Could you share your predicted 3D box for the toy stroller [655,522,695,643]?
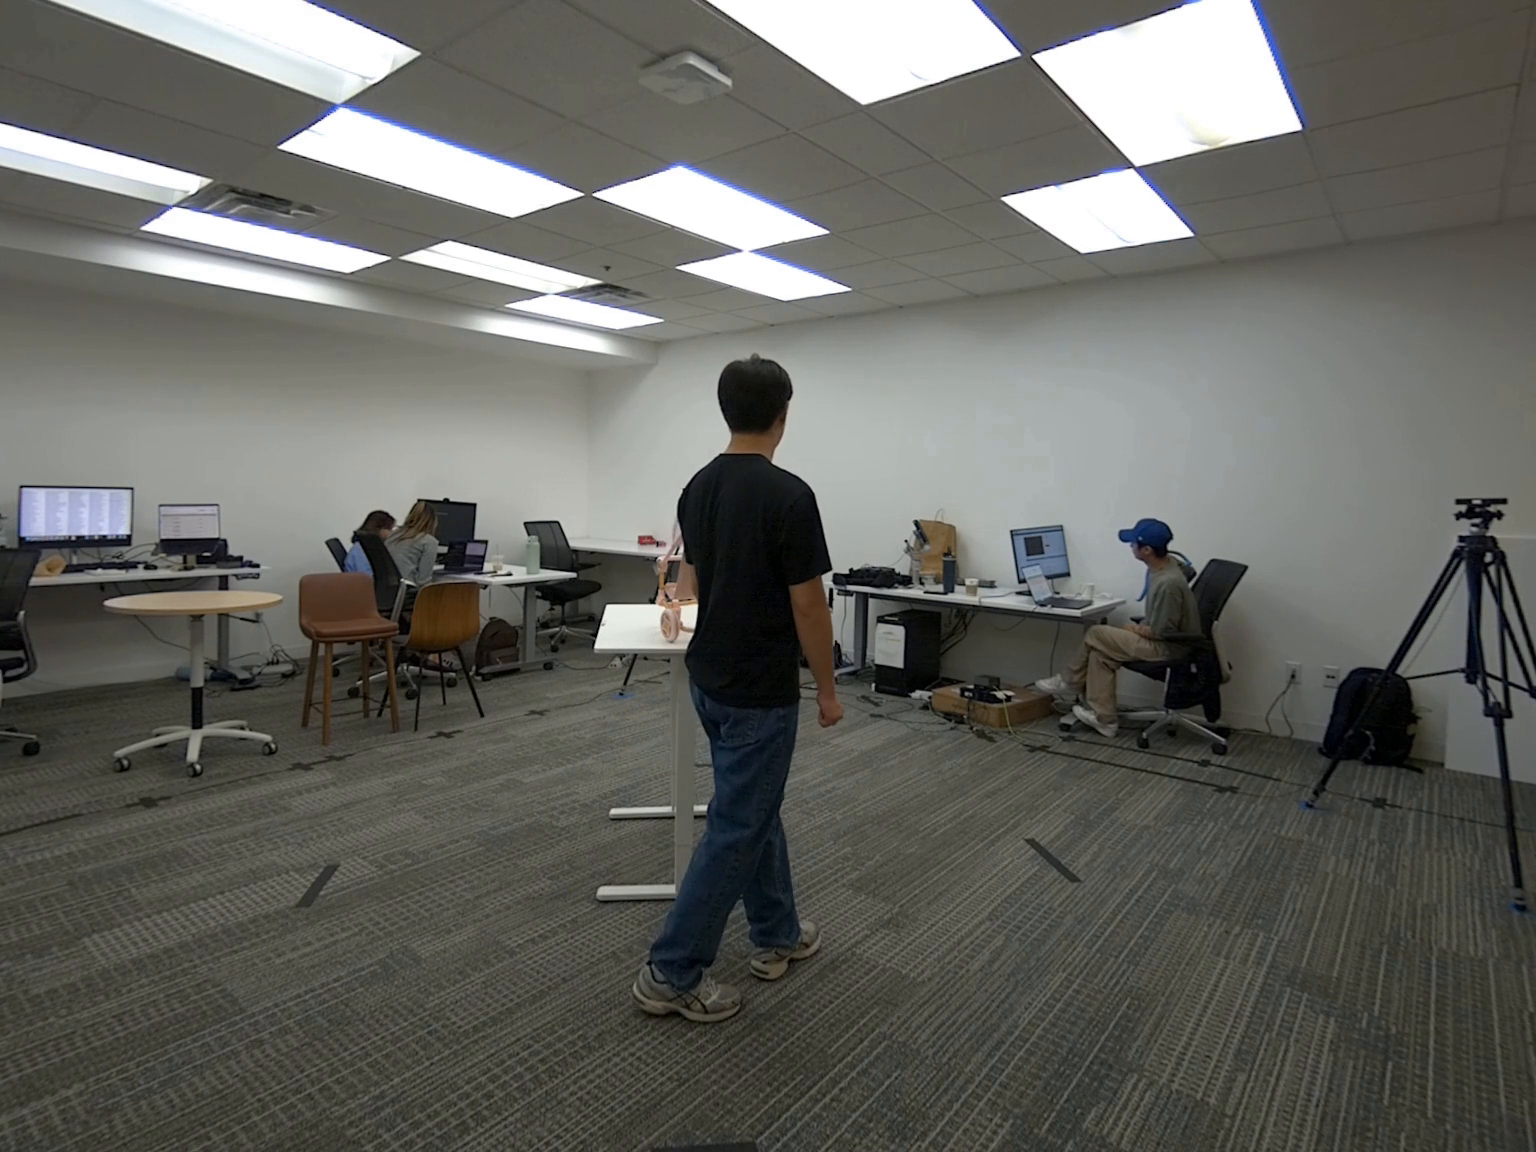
[{"bbox_3d":[-0.260,-0.021,2.923,0.275,0.528,0.354,1,18,-24],"label":"toy stroller"}]
